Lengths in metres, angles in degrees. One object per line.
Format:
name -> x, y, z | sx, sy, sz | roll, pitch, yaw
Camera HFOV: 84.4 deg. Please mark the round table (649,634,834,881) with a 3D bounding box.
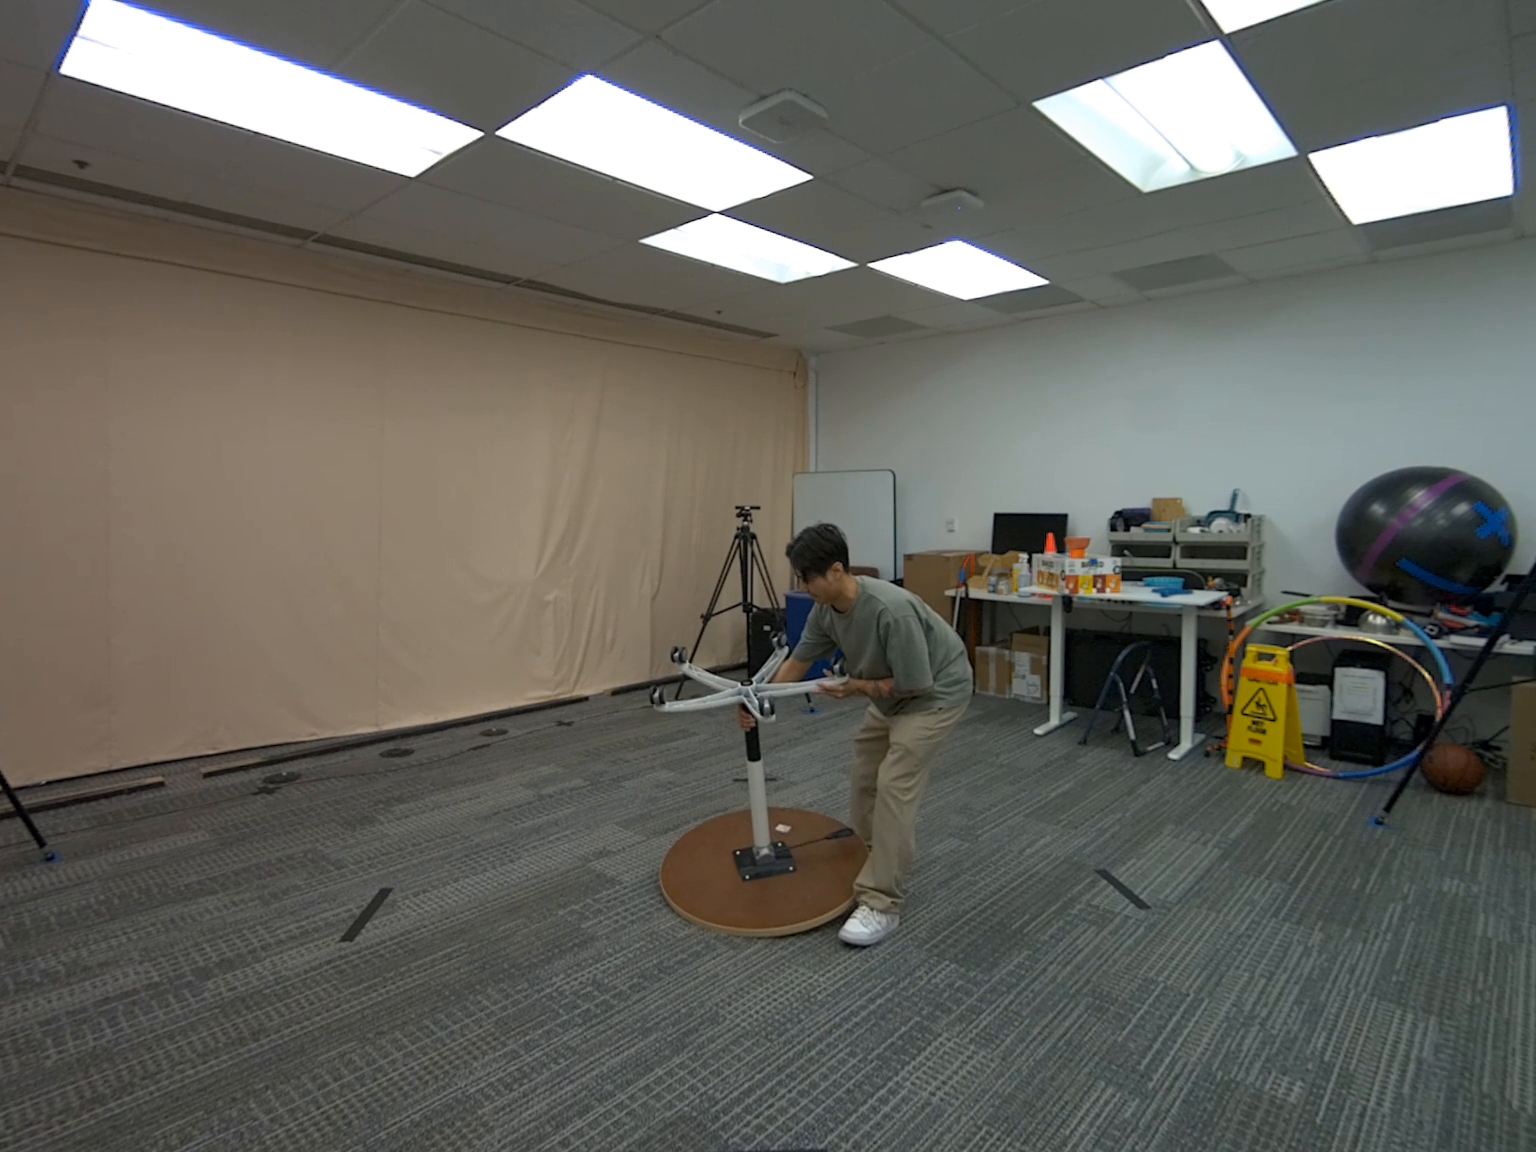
round table -> -0.047, 0.683, 3.004 | 0.785, 0.779, 0.792 | -4, 13, -1
